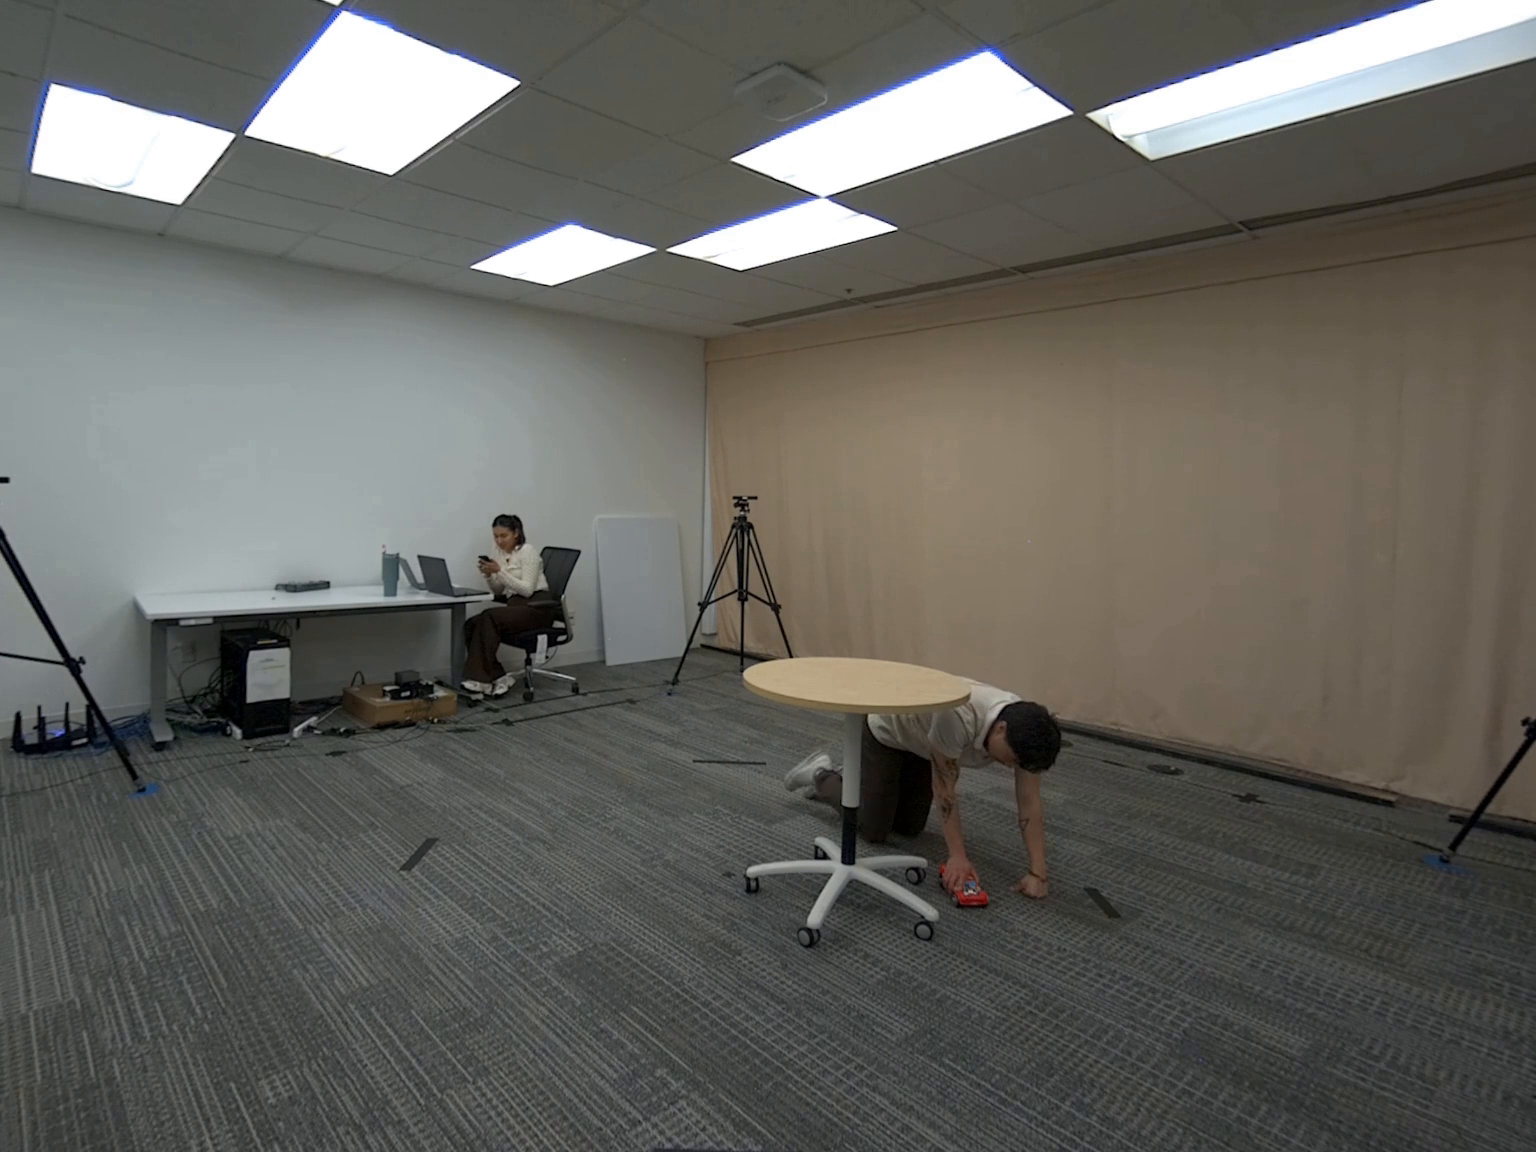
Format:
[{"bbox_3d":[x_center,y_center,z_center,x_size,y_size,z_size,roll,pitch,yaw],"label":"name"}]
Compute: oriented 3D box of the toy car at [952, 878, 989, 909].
[{"bbox_3d":[0.668,1.108,3.005,0.129,0.082,0.259,1,15,-9],"label":"toy car"}]
